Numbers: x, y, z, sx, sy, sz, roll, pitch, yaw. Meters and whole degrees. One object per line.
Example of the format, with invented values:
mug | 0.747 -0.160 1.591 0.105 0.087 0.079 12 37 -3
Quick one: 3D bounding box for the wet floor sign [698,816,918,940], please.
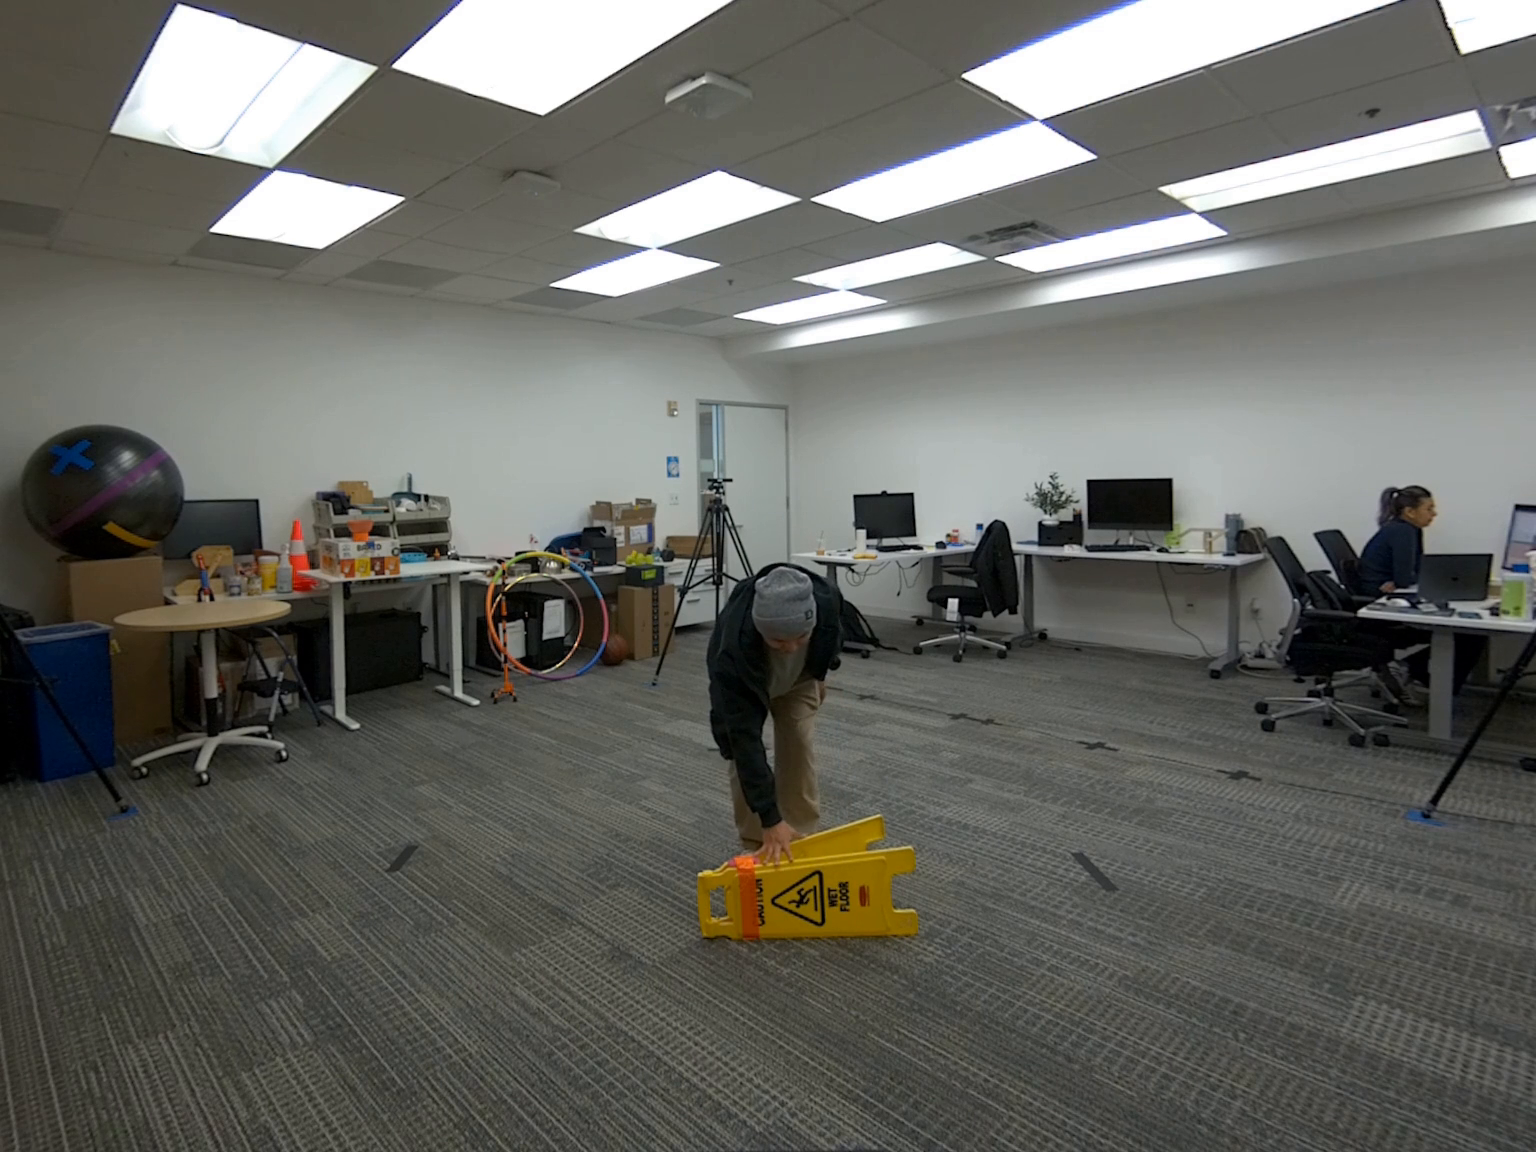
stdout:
wet floor sign | 0.112 0.970 2.644 0.640 0.281 0.294 -6 6 -11
